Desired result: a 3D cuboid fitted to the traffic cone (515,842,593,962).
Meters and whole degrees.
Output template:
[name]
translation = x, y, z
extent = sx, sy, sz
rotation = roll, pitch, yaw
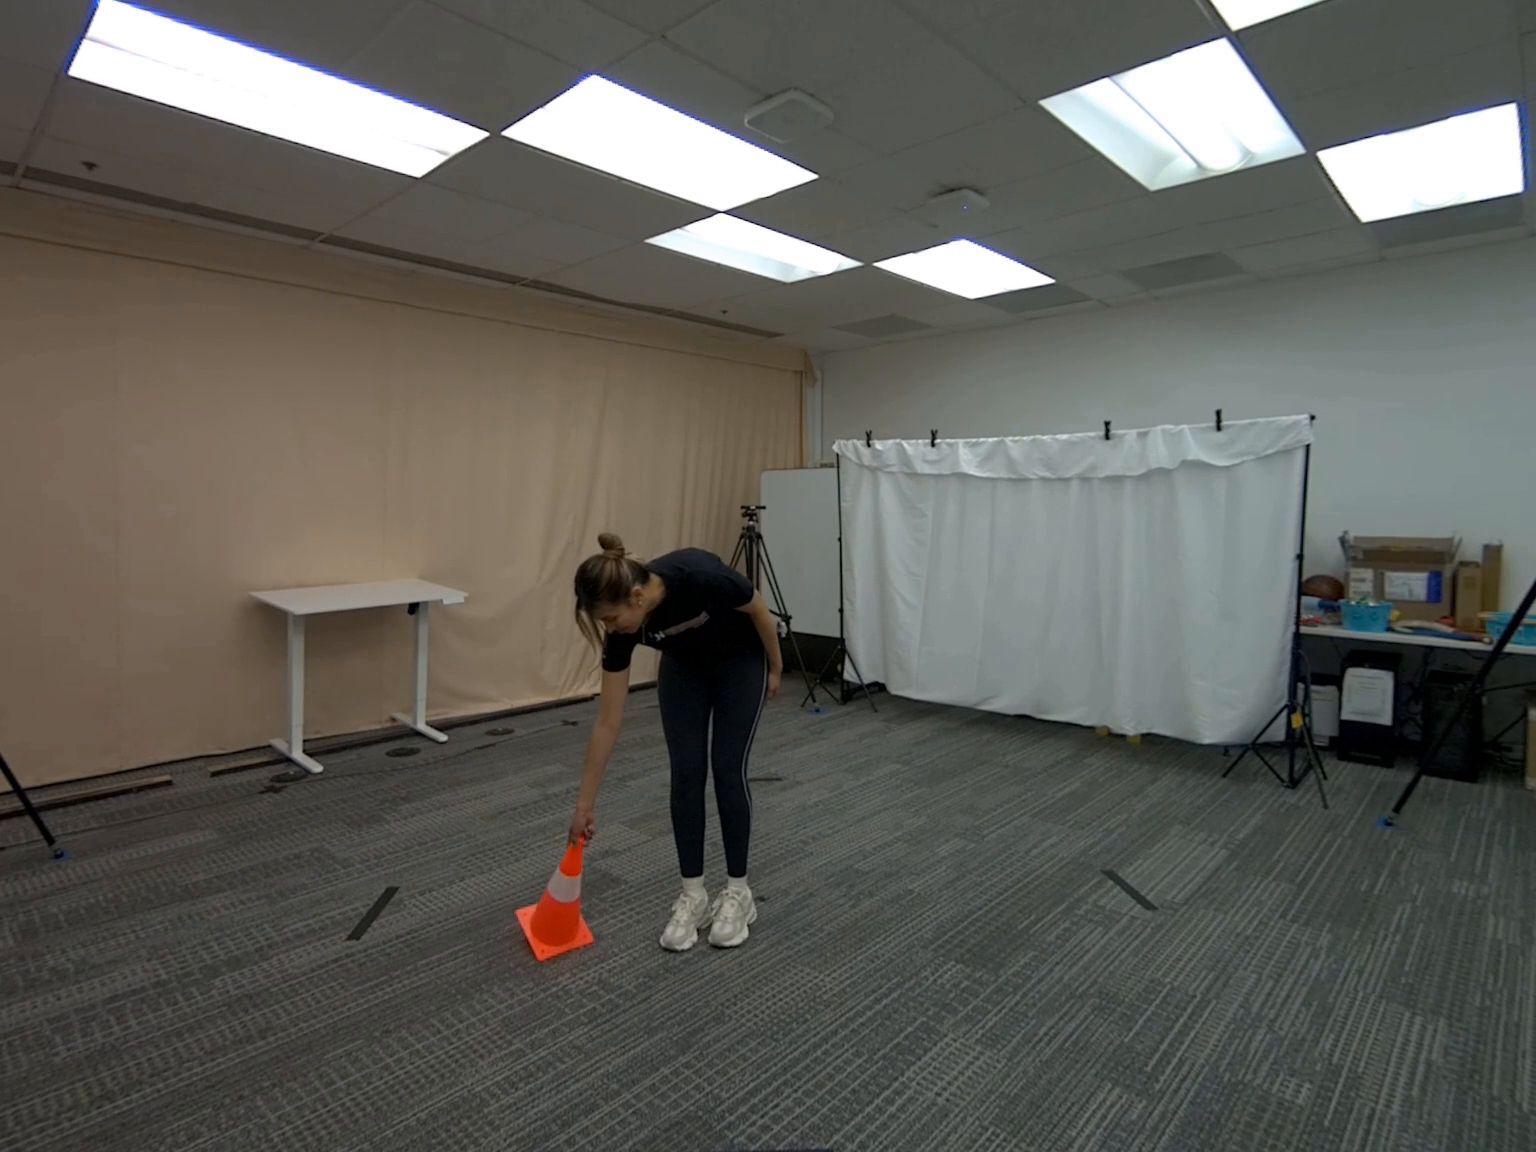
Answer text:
[traffic cone]
translation = -0.627, 0.973, 2.622
extent = 0.212, 0.381, 0.198
rotation = 32, 26, 29
